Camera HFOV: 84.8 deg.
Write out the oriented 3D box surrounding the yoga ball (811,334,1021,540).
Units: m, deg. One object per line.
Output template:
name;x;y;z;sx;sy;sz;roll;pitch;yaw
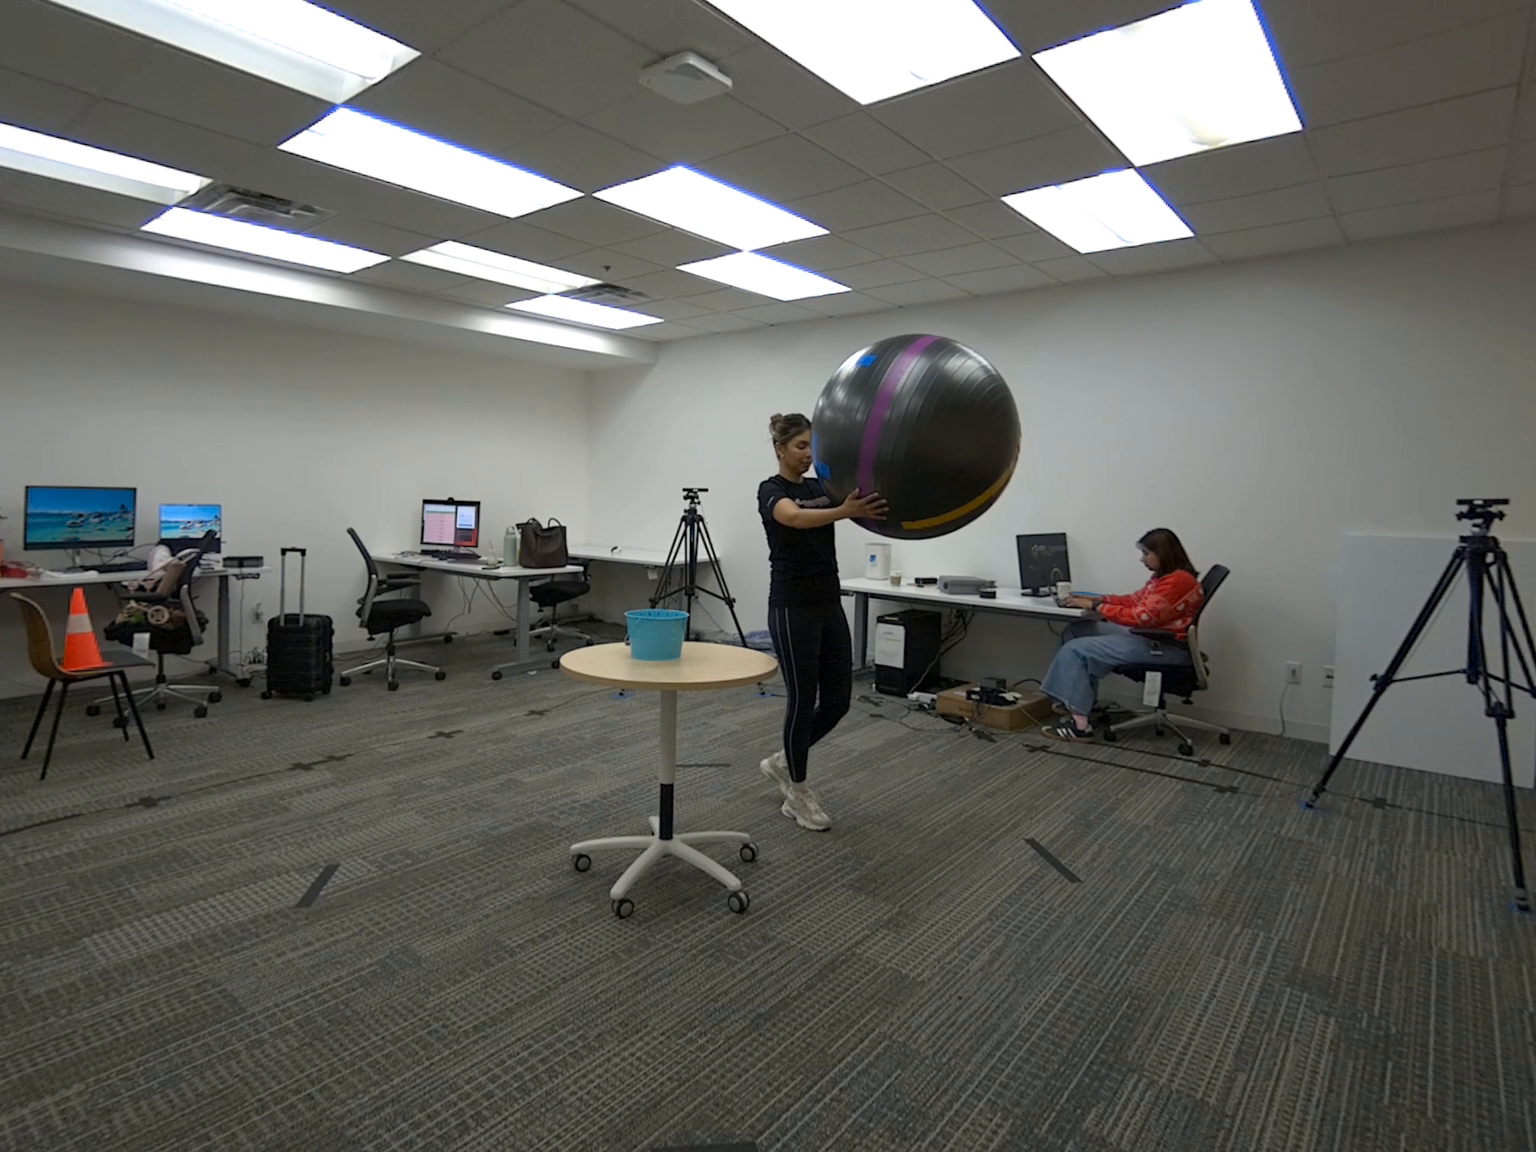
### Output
yoga ball;0.529;-0.510;3.154;0.757;0.756;0.761;1;4;-2
